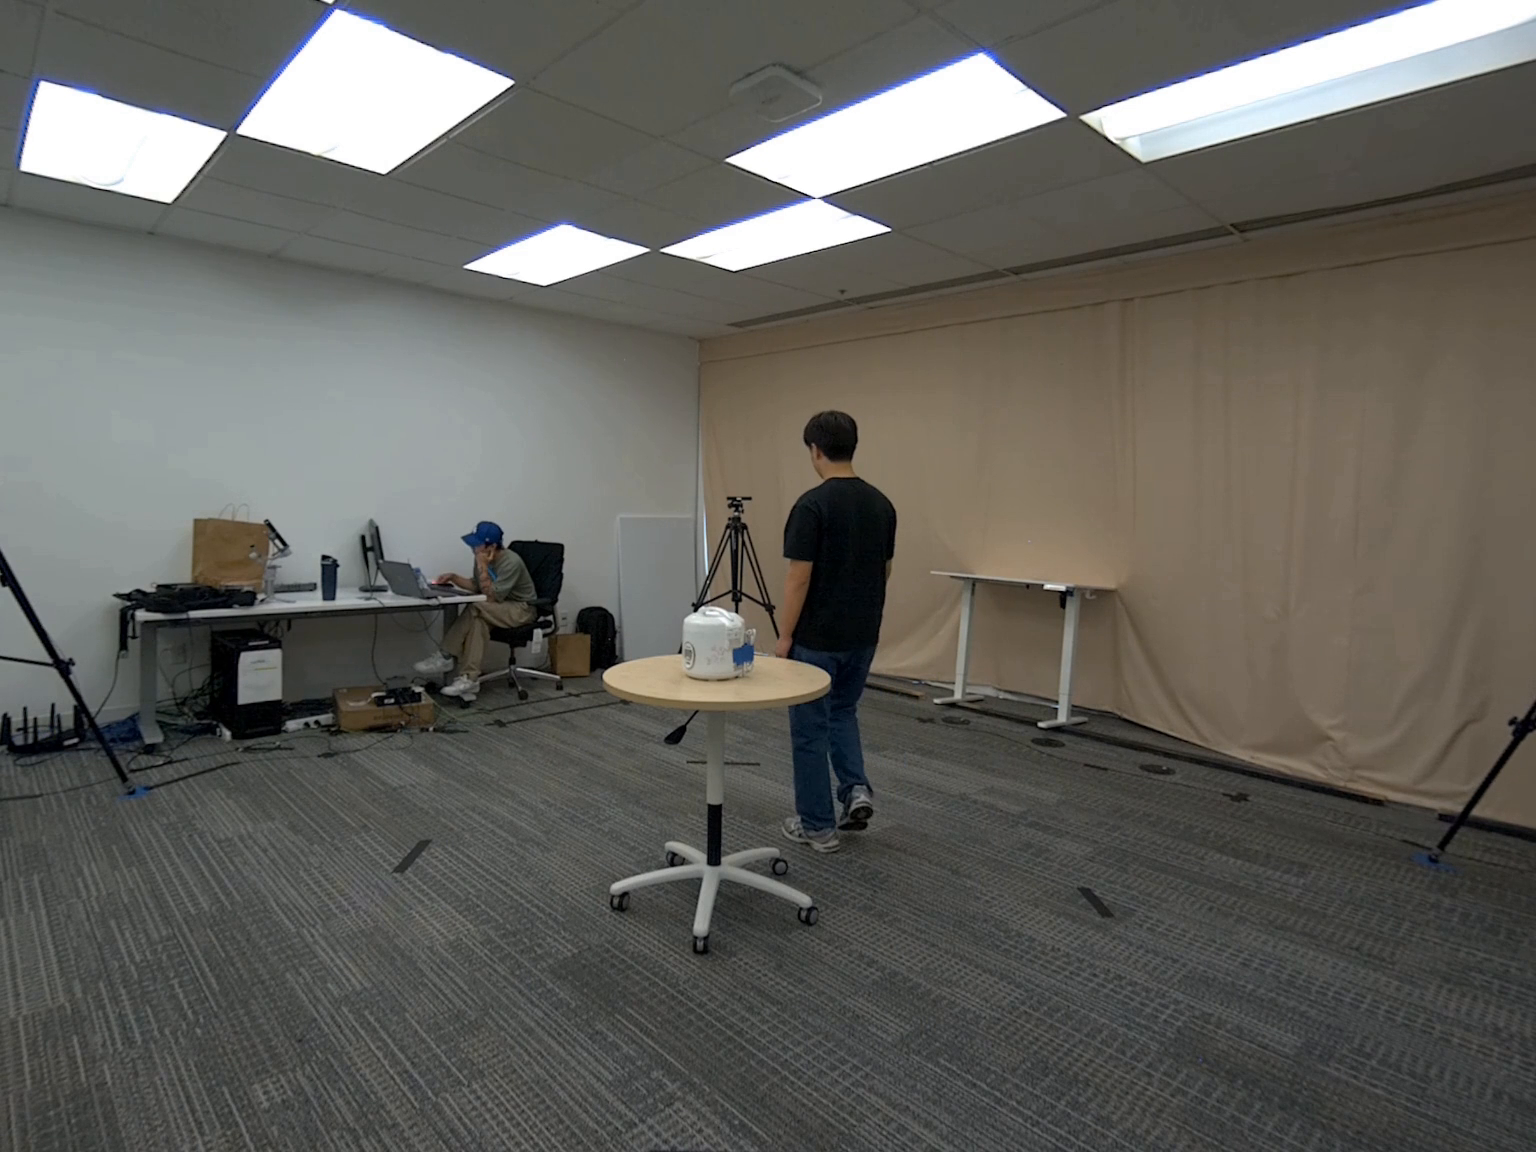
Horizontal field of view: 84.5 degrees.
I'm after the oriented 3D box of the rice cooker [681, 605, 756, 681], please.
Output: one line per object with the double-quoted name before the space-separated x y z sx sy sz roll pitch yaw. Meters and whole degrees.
"rice cooker" -0.183 0.221 2.815 0.212 0.232 0.226 -1 4 -42
